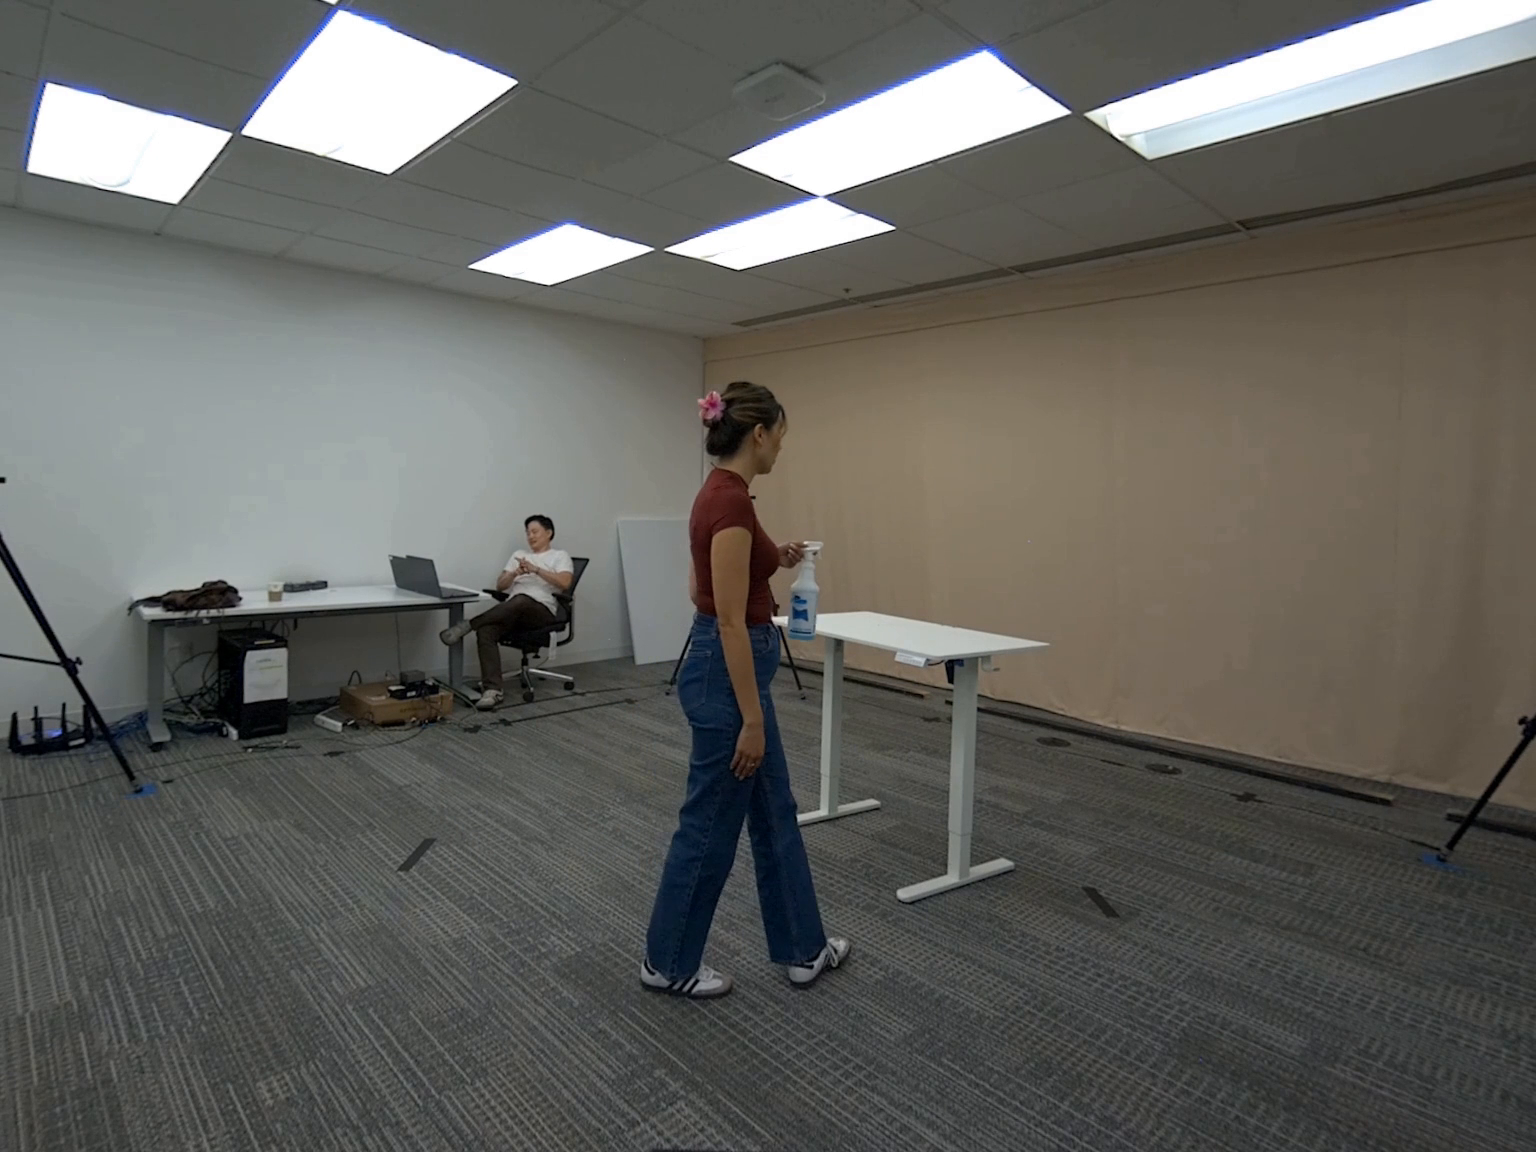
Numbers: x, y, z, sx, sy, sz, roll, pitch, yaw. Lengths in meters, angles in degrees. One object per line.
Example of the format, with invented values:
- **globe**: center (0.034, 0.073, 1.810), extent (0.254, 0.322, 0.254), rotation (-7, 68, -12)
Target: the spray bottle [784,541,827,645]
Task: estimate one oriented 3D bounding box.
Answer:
- **spray bottle**: center (0.109, 0.048, 2.537), extent (0.089, 0.297, 0.087), rotation (4, 1, -7)
